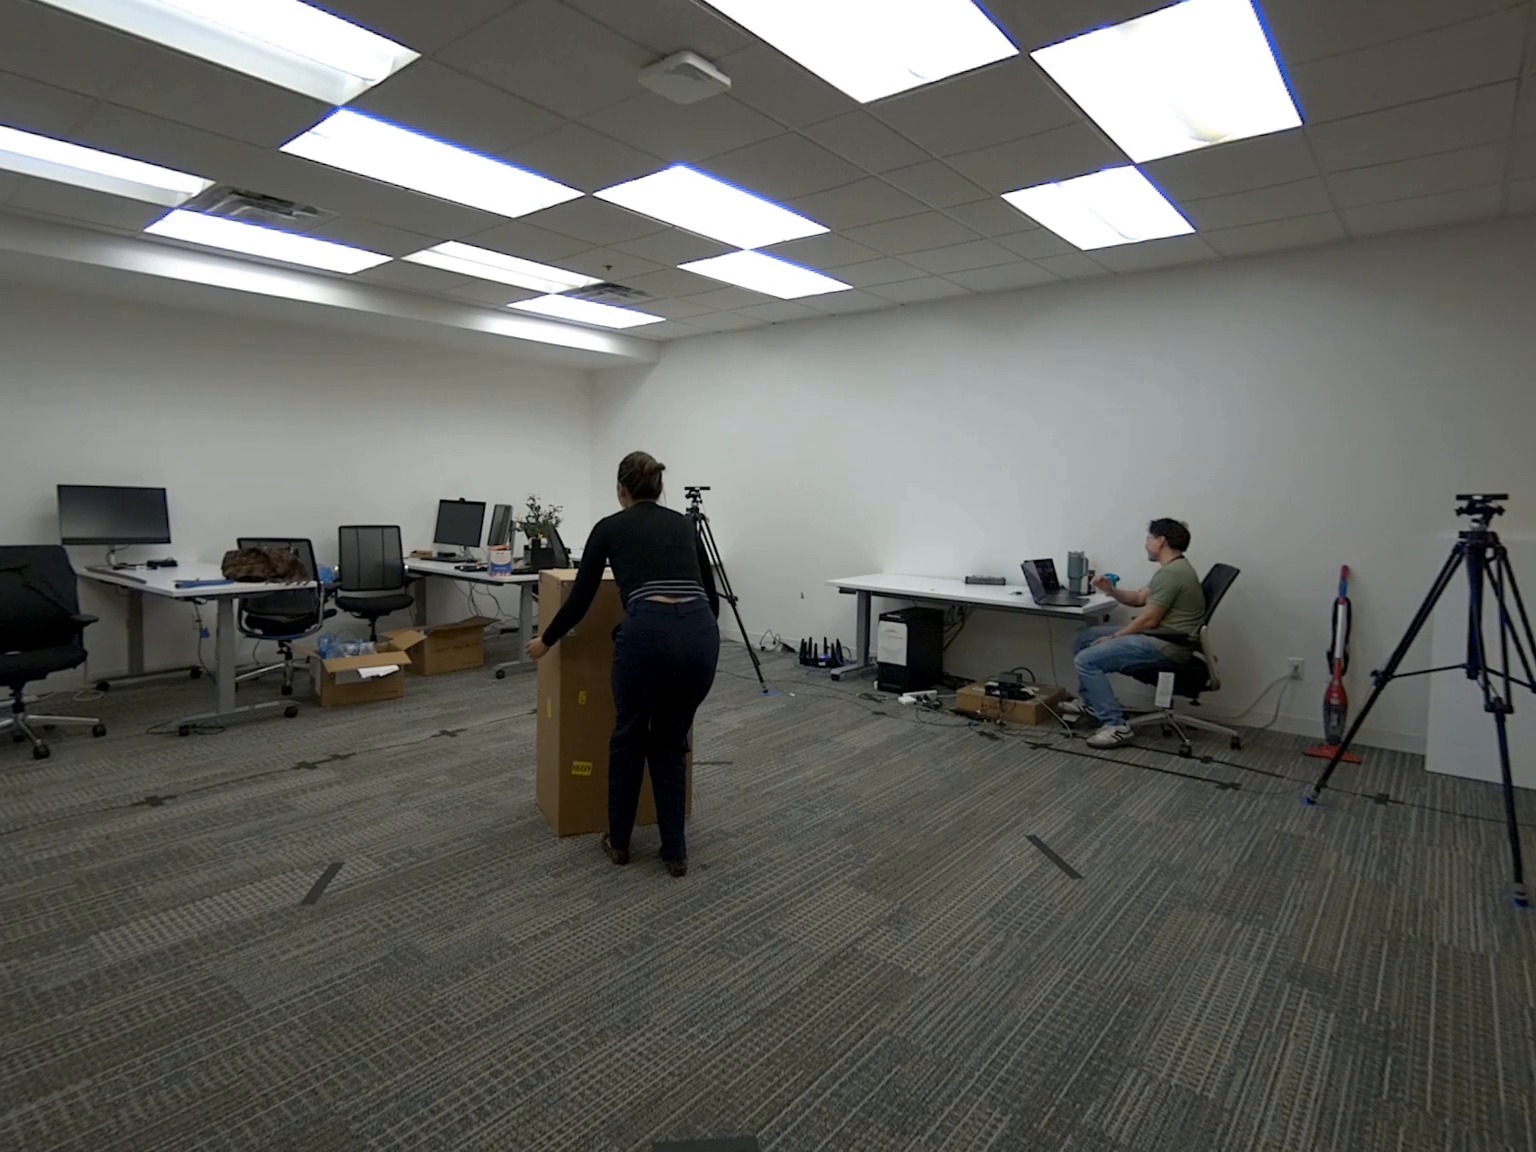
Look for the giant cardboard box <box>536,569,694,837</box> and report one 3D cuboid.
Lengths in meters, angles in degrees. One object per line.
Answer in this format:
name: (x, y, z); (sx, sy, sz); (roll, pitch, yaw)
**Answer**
giant cardboard box: (-0.674, 0.497, 3.640); (0.564, 1.023, 0.438); (0, 3, -26)
